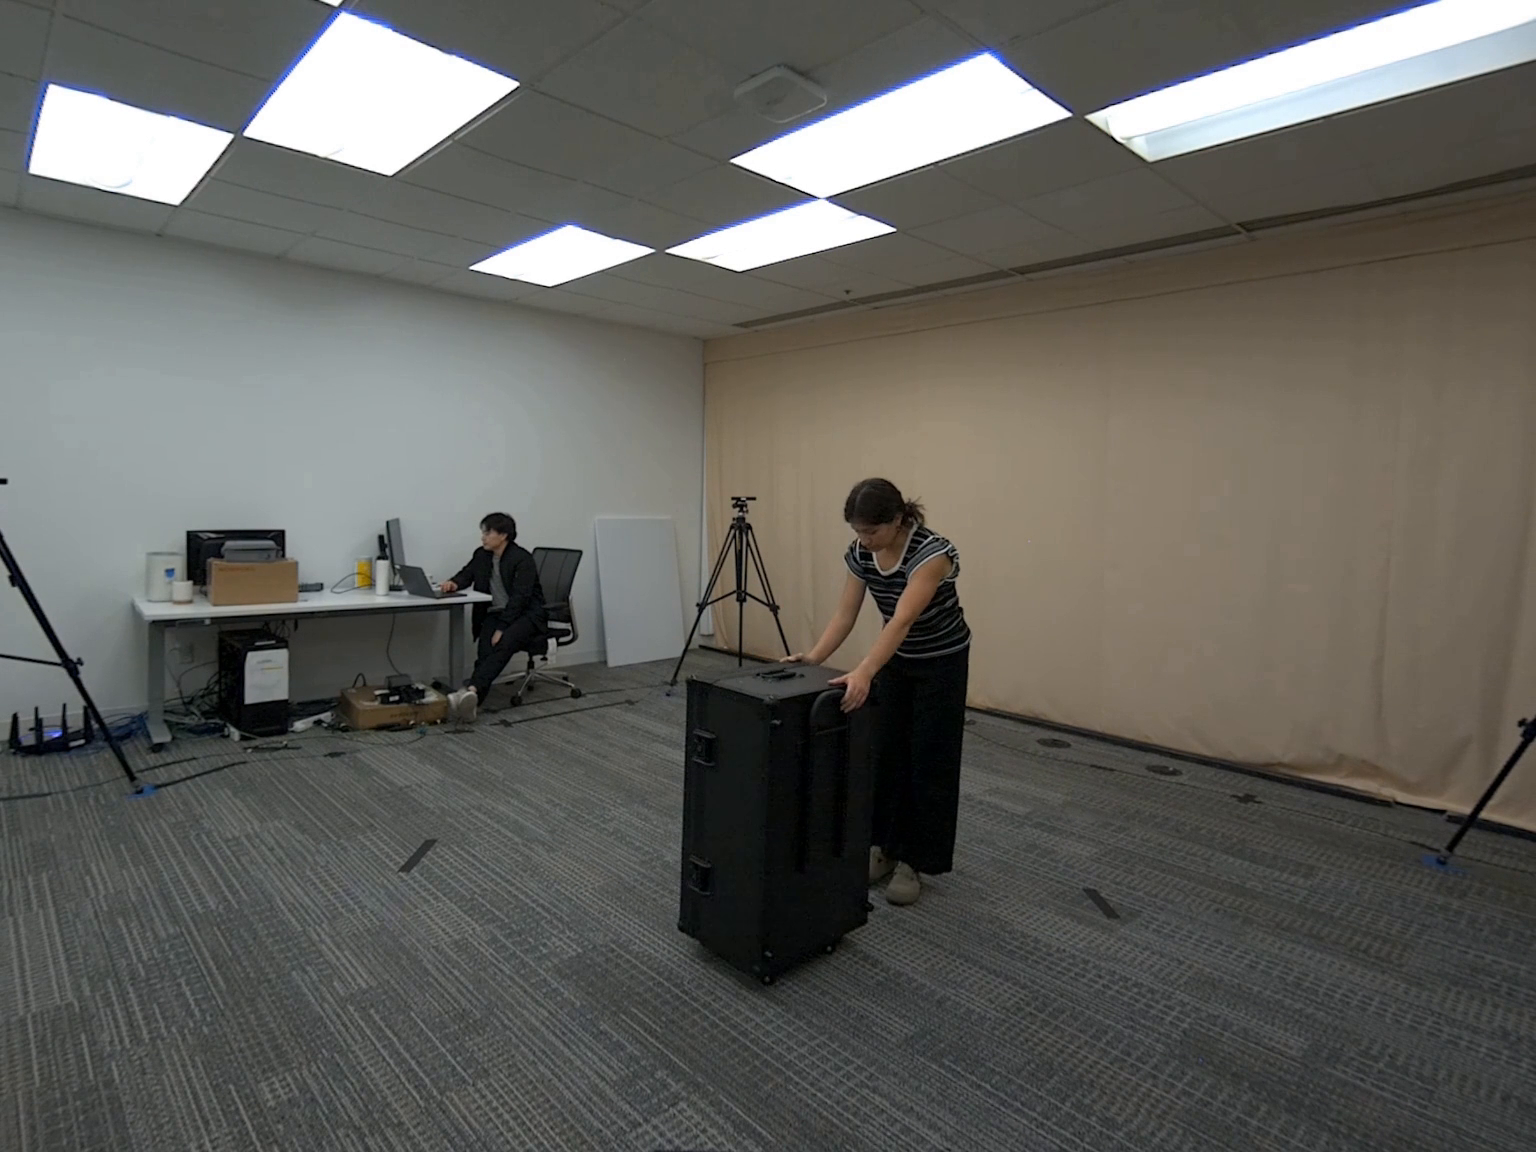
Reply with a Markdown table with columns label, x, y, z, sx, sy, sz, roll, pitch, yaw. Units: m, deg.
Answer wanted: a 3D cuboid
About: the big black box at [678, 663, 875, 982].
| label | x | y | z | sx | sy | sz | roll | pitch | yaw |
| --- | --- | --- | --- | --- | --- | --- | --- | --- | --- |
| big black box | 0.035 | 0.738 | 2.579 | 0.509 | 0.859 | 0.407 | -1 | 6 | -45 |
